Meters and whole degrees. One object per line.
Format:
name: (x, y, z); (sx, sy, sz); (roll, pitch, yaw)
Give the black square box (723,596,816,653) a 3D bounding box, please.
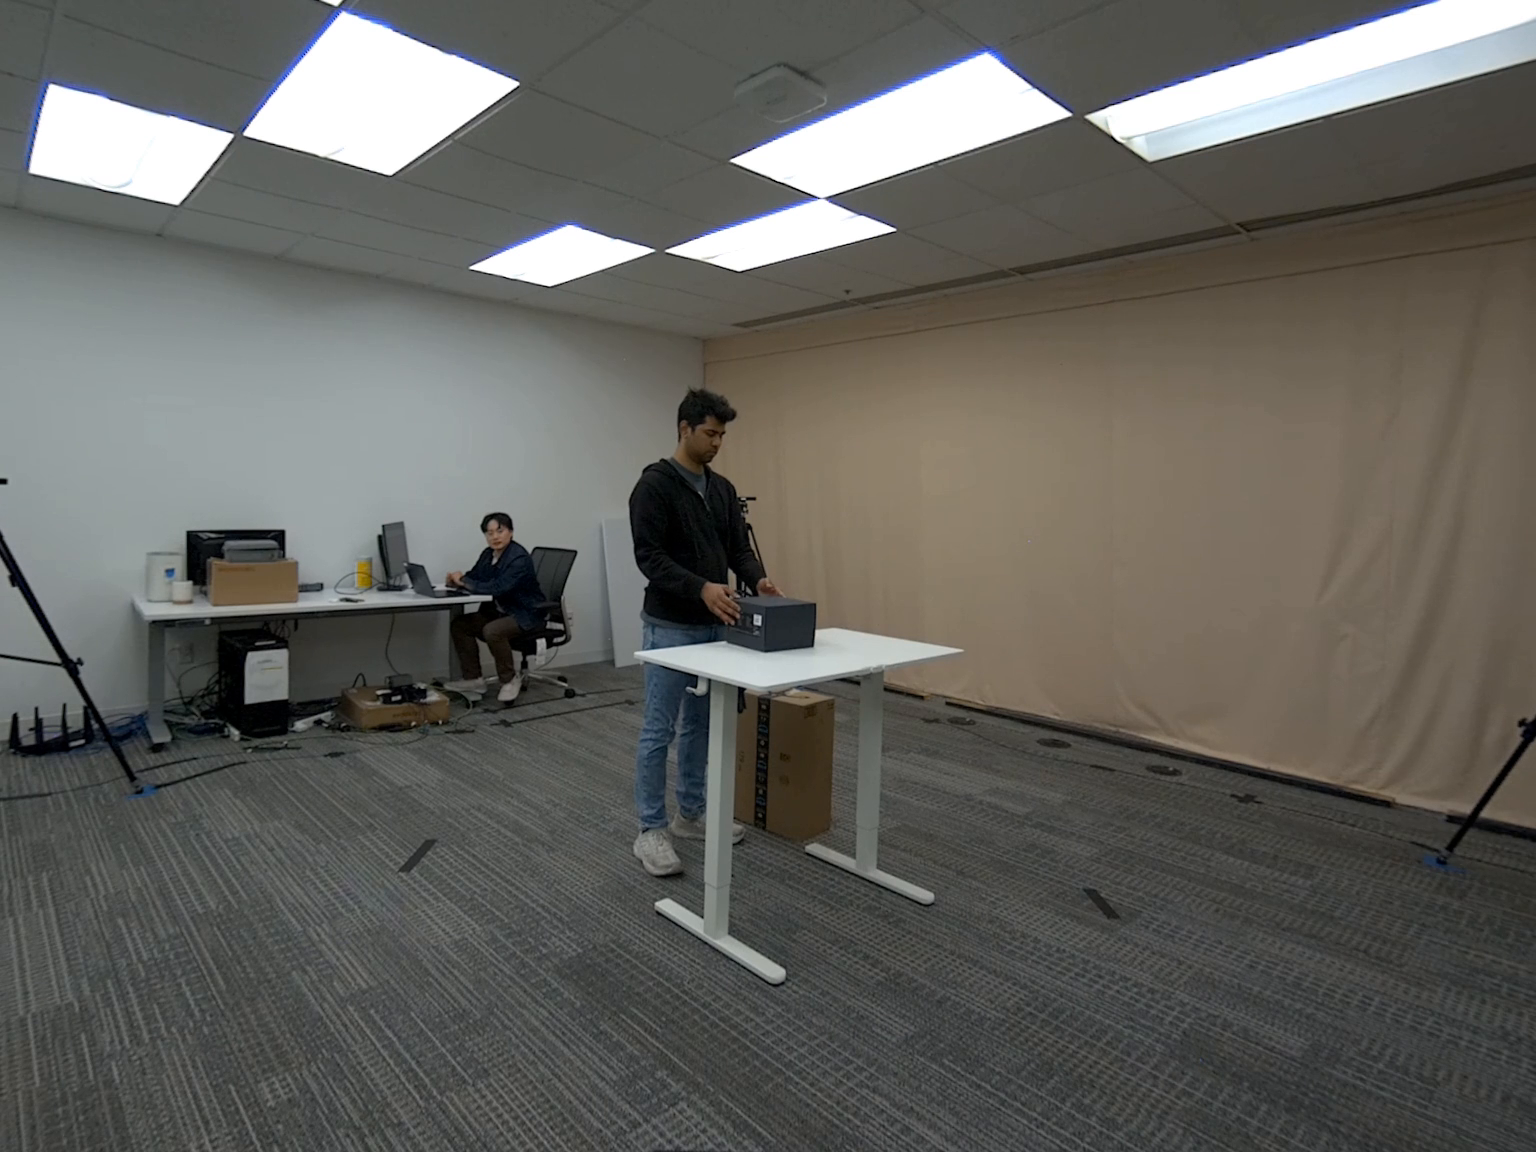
black square box: (0.018, 0.156, 2.943); (0.223, 0.155, 0.223); (-3, 8, -38)
